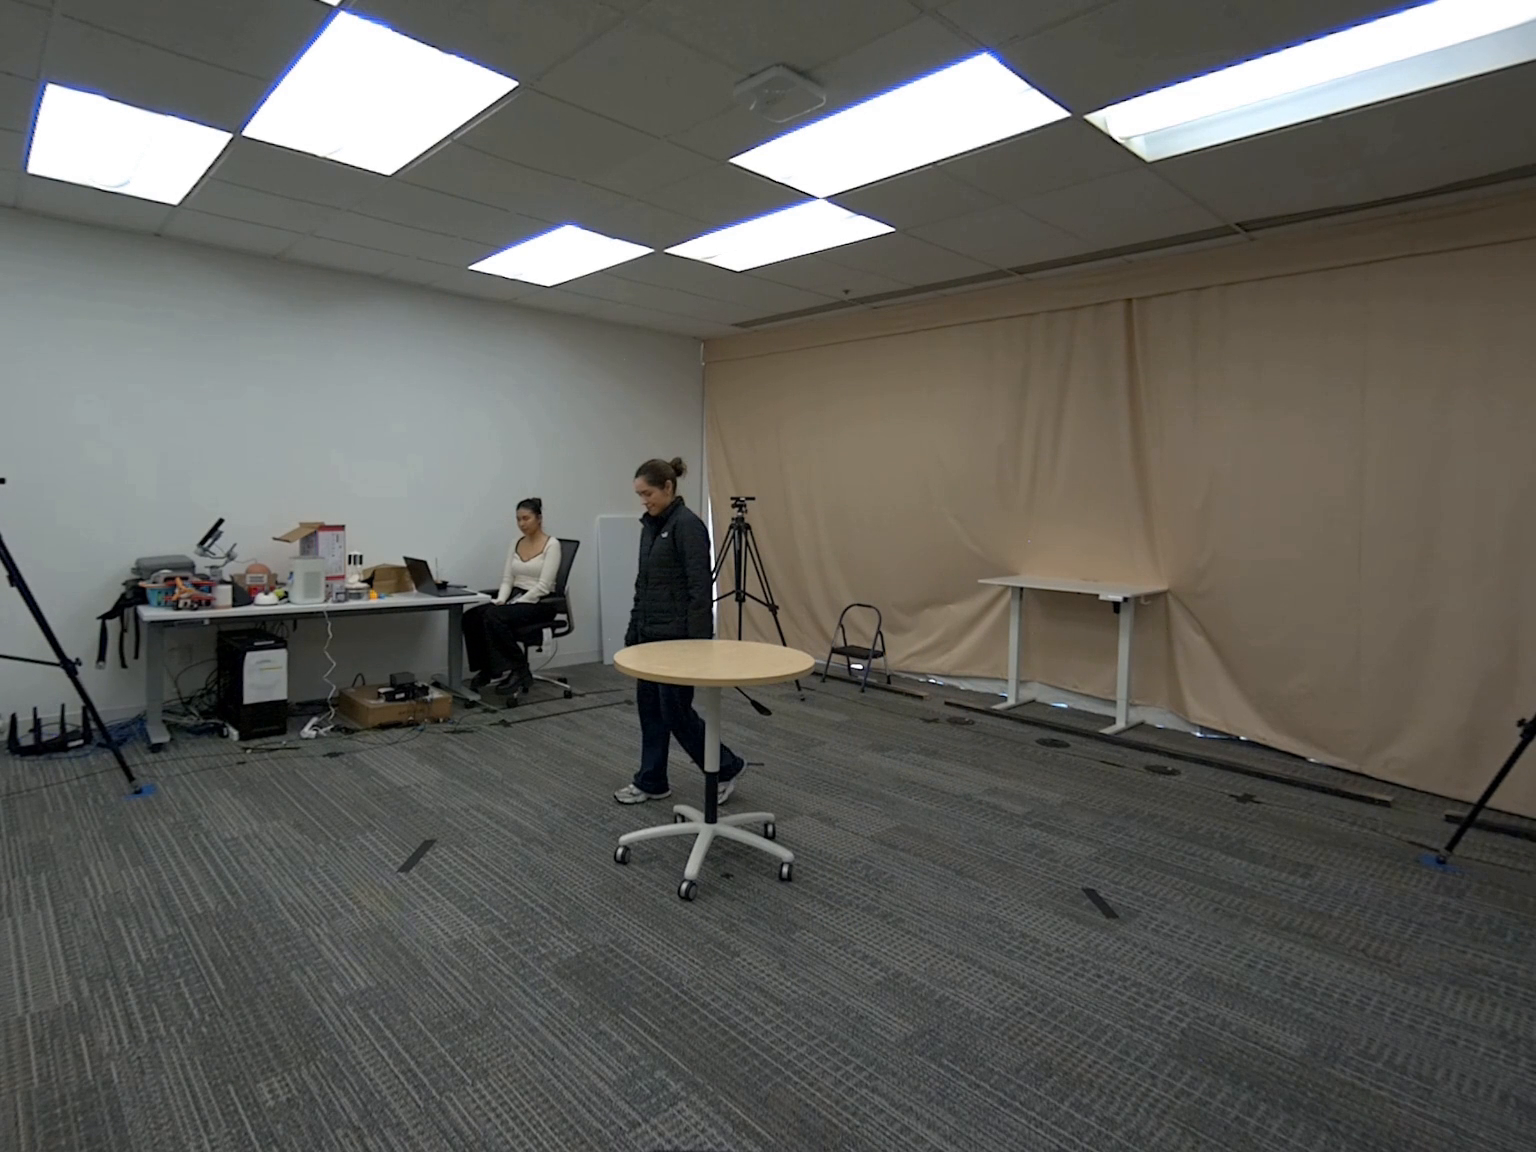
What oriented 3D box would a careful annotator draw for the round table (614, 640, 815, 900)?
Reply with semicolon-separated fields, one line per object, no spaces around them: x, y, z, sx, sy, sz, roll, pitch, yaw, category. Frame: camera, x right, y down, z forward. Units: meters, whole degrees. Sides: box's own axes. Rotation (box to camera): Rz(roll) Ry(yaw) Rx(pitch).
-0.205;0.702;3.227;0.784;0.784;0.788;1;4;-1;round table
